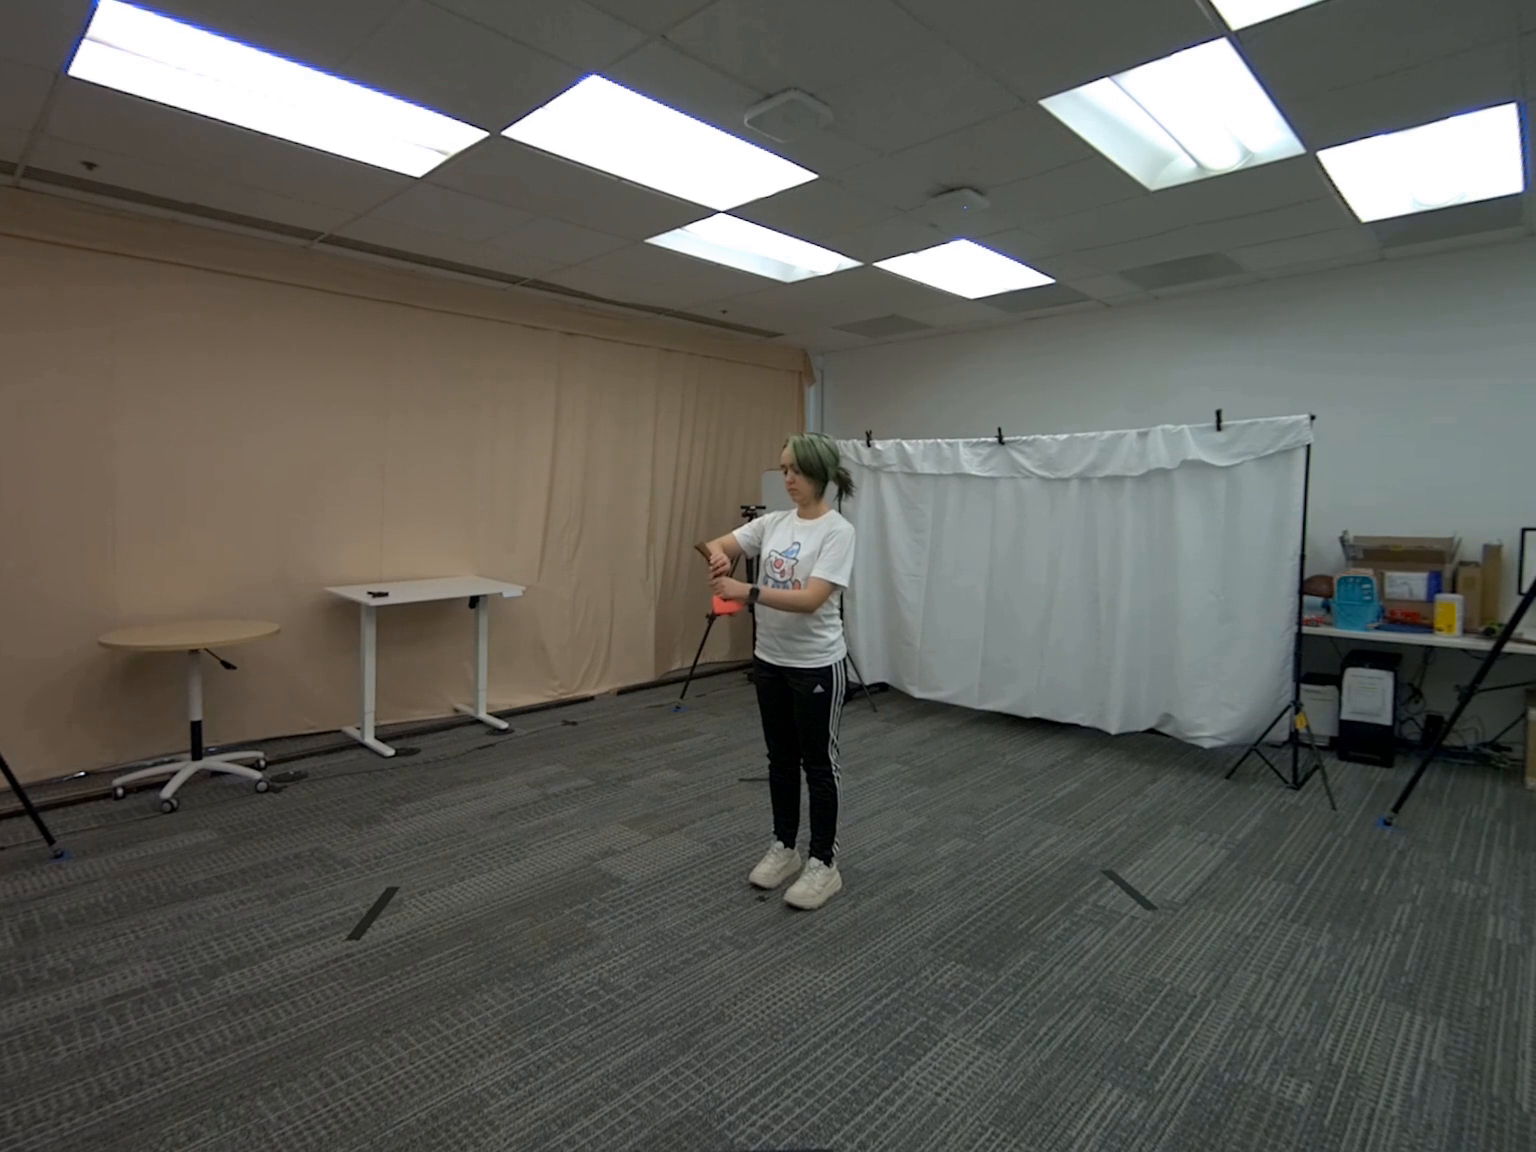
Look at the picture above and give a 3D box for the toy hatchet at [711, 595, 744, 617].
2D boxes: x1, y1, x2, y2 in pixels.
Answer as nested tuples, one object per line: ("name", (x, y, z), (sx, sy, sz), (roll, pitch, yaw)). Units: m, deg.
("toy hatchet", (-0.180, 0.023, 2.775), (0.129, 0.270, 0.030), (-35, 0, -37))
